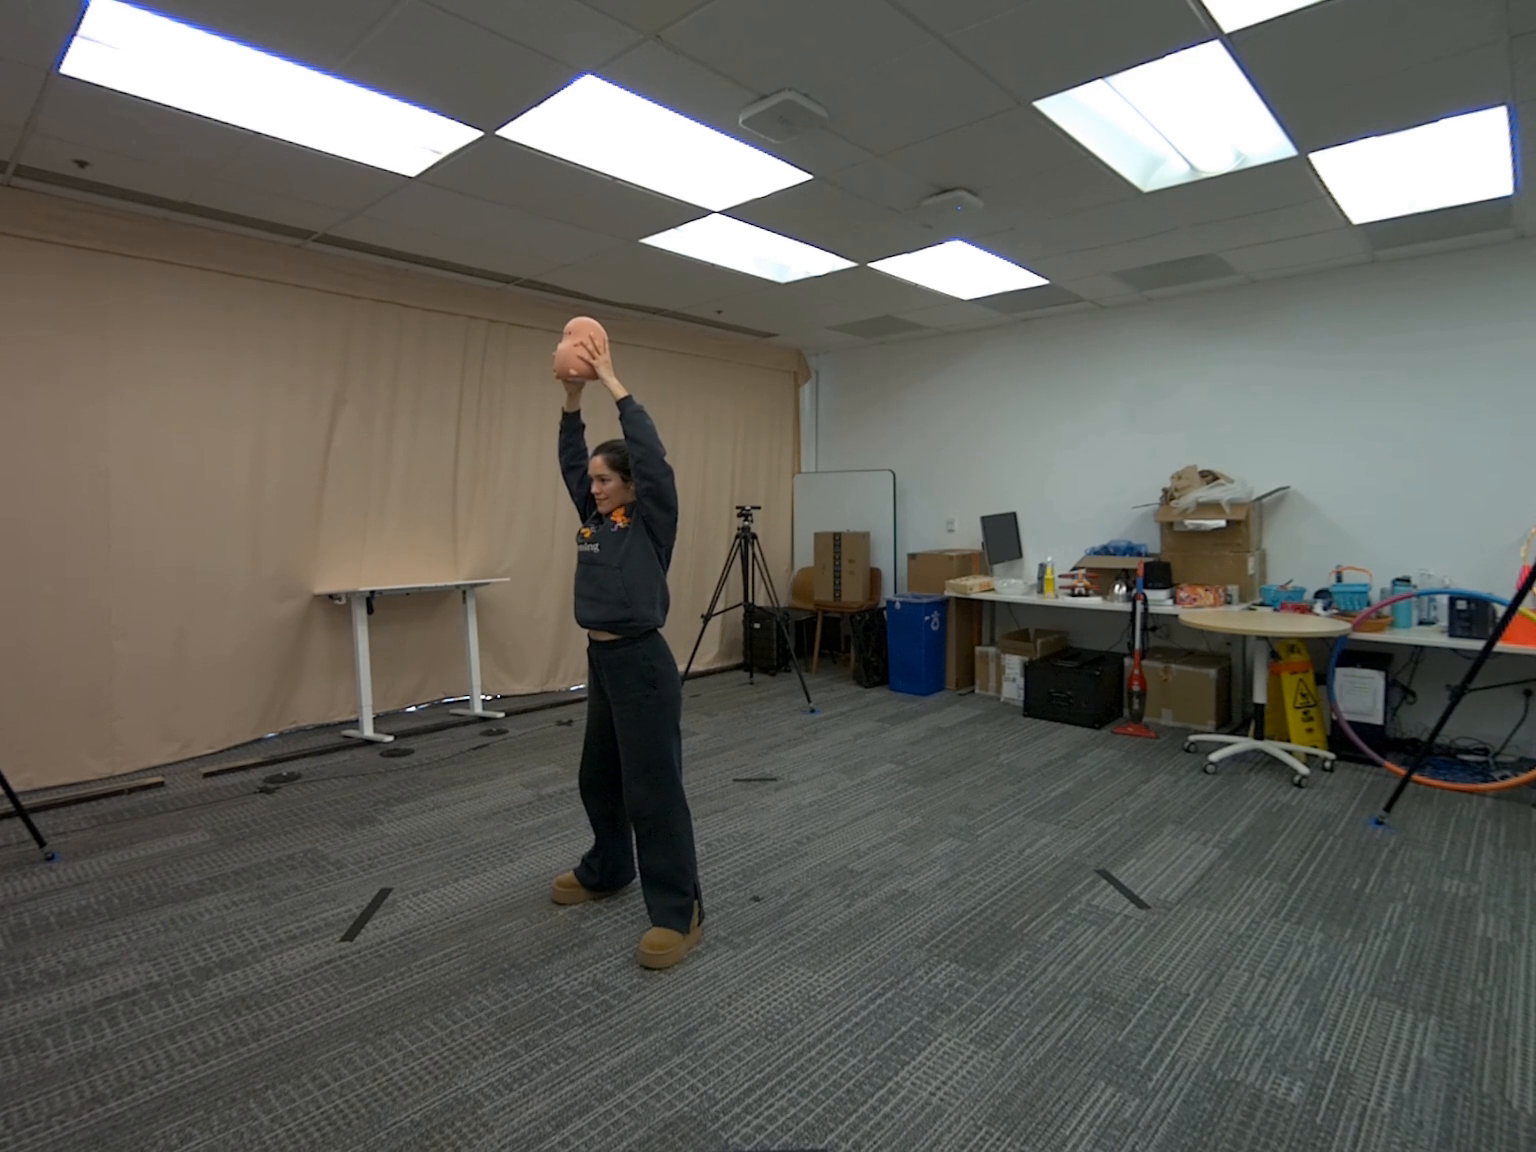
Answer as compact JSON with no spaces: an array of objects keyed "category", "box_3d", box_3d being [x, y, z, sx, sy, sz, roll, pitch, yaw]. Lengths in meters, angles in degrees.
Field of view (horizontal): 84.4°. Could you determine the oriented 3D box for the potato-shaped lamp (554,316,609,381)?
[{"category":"potato-shaped lamp","box_3d":[-0.590,-0.716,2.661,0.166,0.197,0.170,-6,8,-42]}]
